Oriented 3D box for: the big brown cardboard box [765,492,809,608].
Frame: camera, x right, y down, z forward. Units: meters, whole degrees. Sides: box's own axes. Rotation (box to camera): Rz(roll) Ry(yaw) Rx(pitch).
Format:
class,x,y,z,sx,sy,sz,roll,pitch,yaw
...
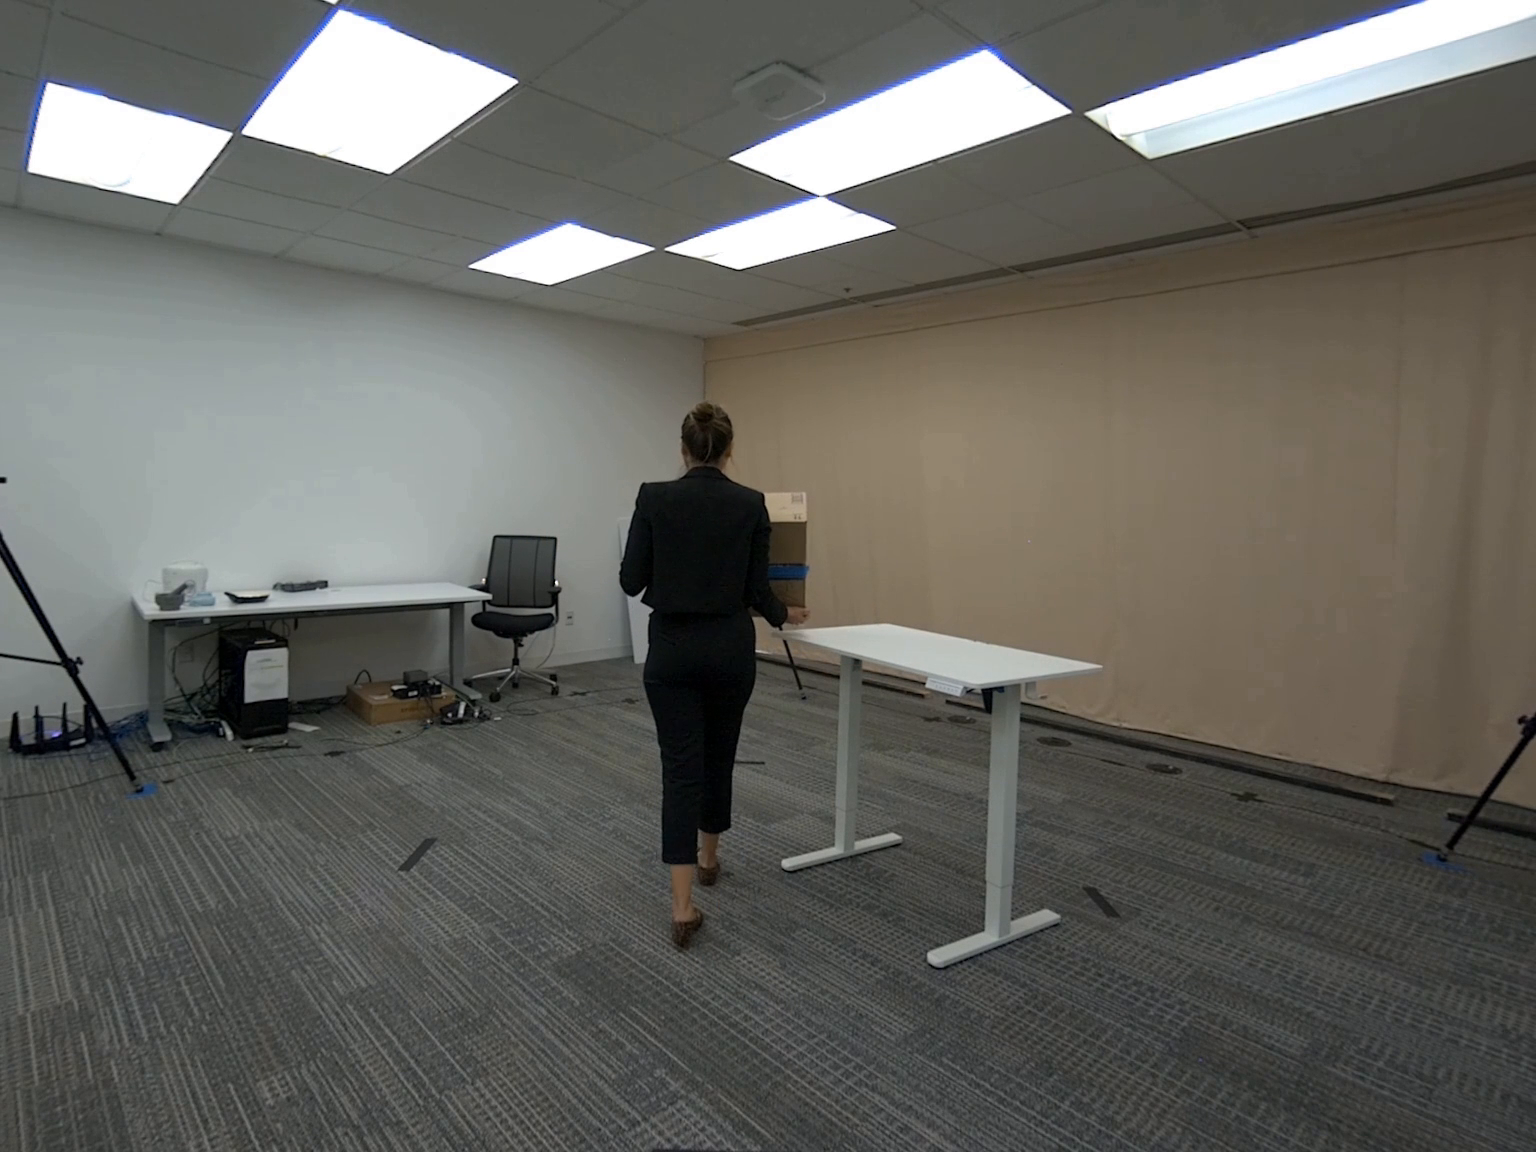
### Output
class,x,y,z,sx,sy,sz,roll,pitch,yaw
big brown cardboard box,-0.147,-0.074,3.125,0.591,0.409,0.237,-1,33,4
